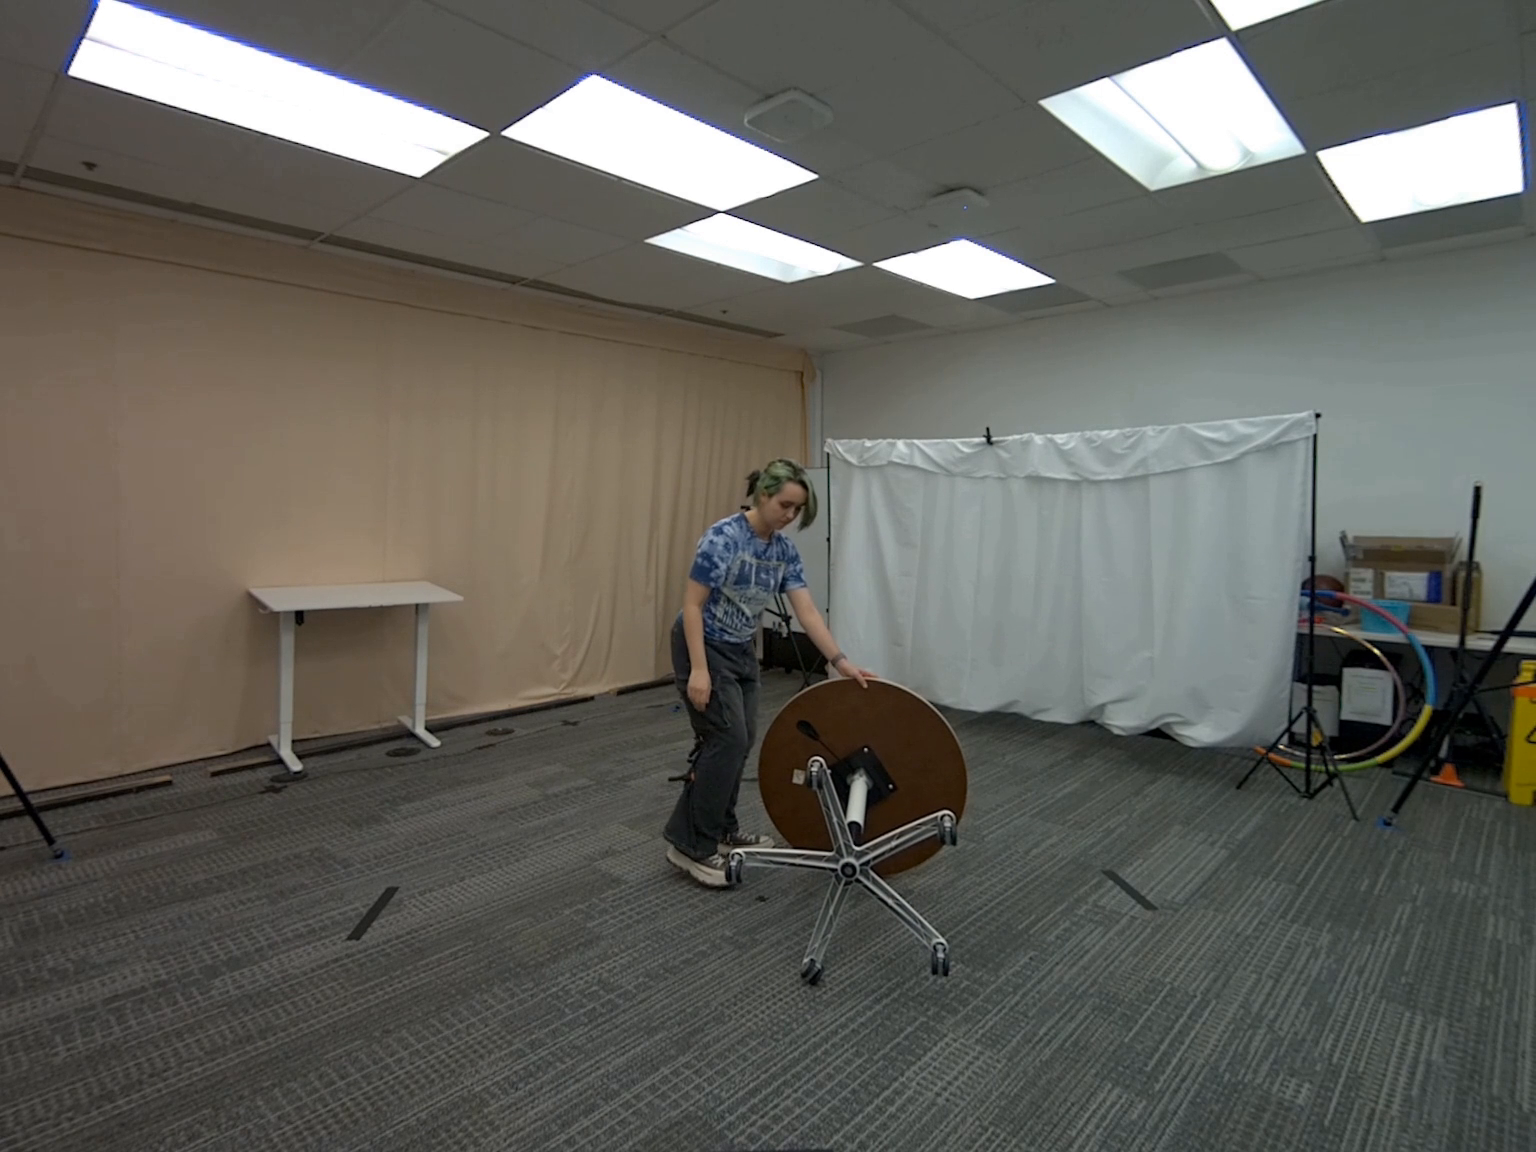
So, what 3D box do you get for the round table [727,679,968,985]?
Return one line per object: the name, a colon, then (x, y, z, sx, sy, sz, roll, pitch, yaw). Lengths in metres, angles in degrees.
round table: (0.287, 0.813, 2.749, 0.774, 0.760, 0.788, 1, 9, 11)
